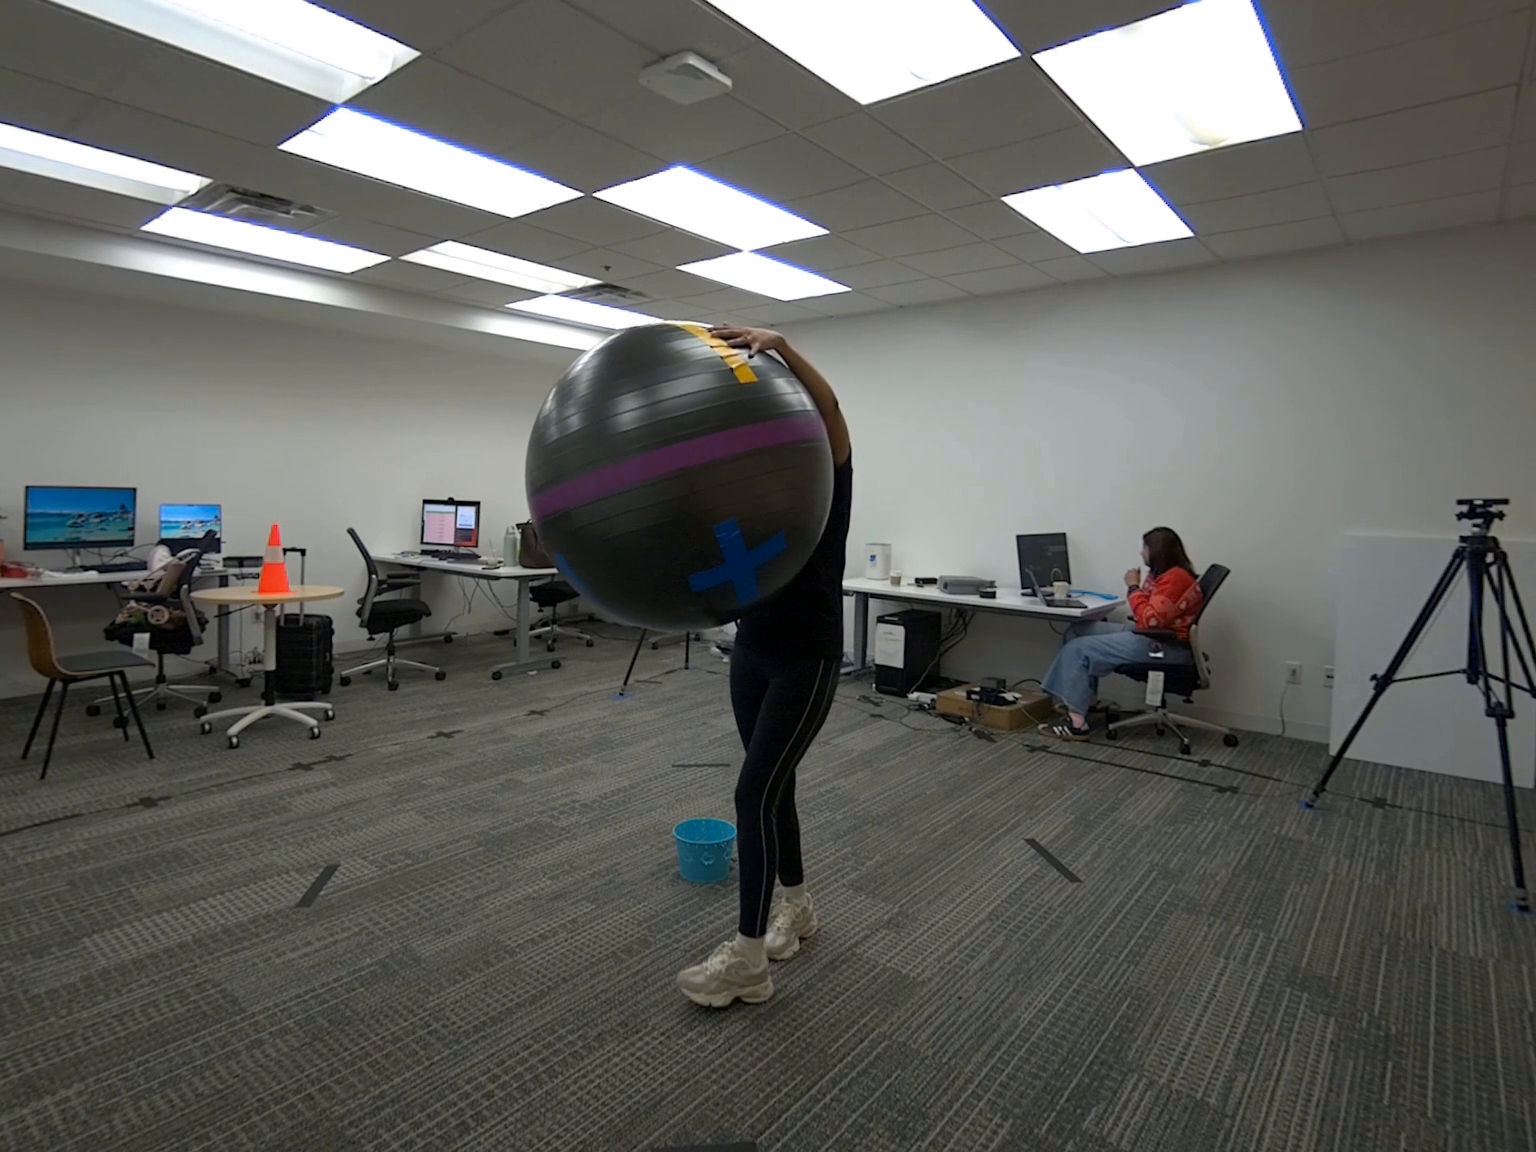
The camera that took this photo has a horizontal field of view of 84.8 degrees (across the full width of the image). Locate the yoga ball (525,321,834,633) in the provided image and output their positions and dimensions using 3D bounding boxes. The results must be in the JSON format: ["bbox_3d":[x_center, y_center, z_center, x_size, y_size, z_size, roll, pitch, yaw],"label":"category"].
[{"bbox_3d":[-0.240,-0.236,2.106,0.757,0.756,0.761,1,4,-2],"label":"yoga ball"}]
